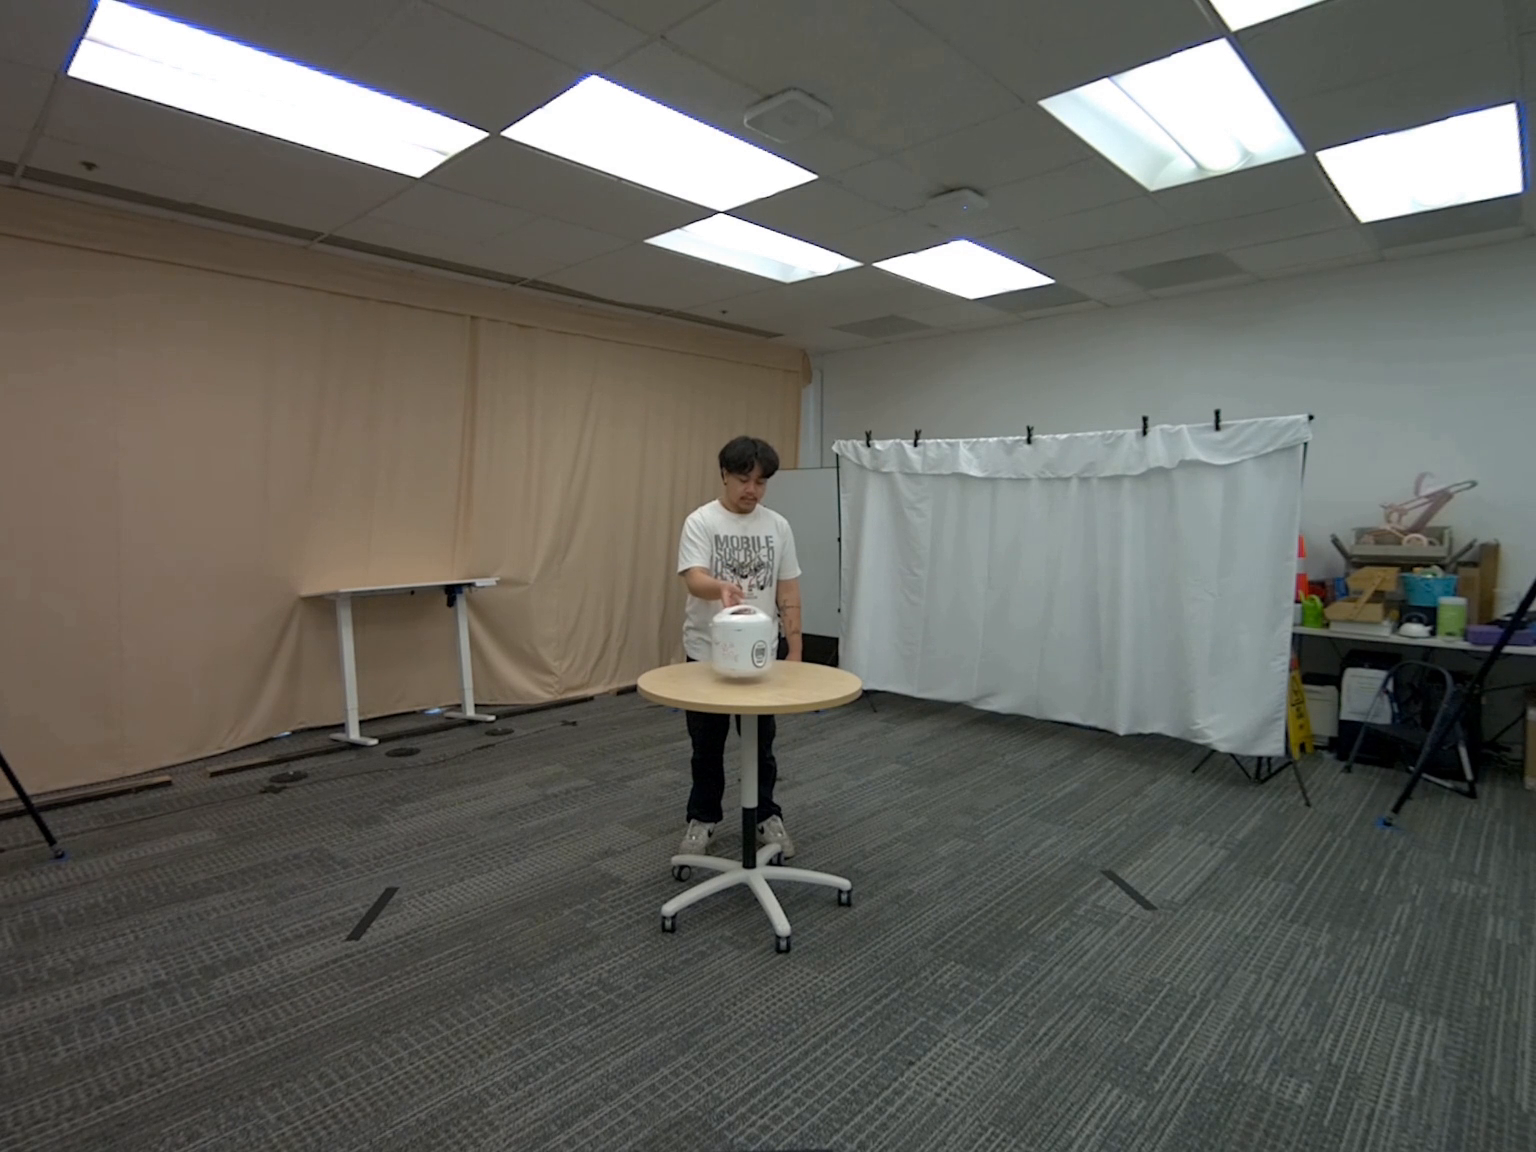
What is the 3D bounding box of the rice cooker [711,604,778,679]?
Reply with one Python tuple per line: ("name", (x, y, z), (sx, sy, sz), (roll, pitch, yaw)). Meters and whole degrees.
("rice cooker", (-0.086, 0.213, 2.870), (0.214, 0.232, 0.224), (-3, 4, -33))
